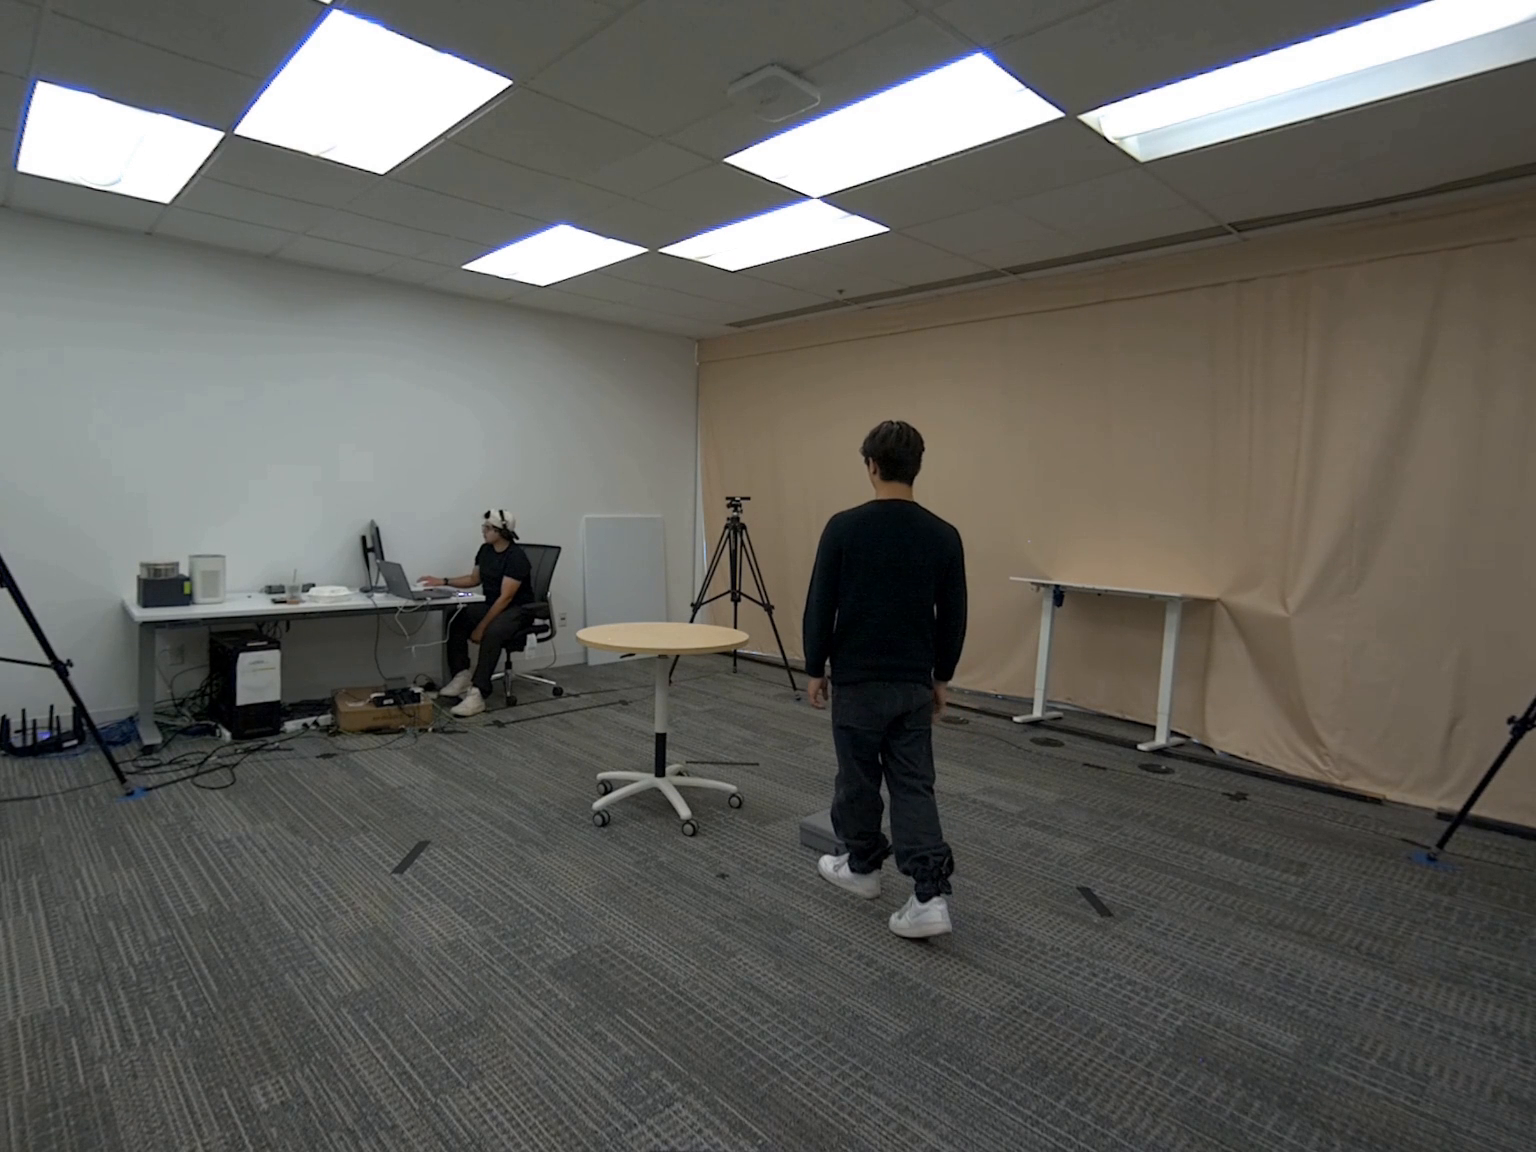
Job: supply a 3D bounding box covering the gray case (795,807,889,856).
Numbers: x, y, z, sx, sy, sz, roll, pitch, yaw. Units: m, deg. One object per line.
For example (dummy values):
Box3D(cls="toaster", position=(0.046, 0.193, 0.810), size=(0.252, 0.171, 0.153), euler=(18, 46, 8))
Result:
Box3D(cls="gray case", position=(0.296, 1.034, 3.410), size=(0.251, 0.104, 0.267), euler=(-1, 5, -44))
